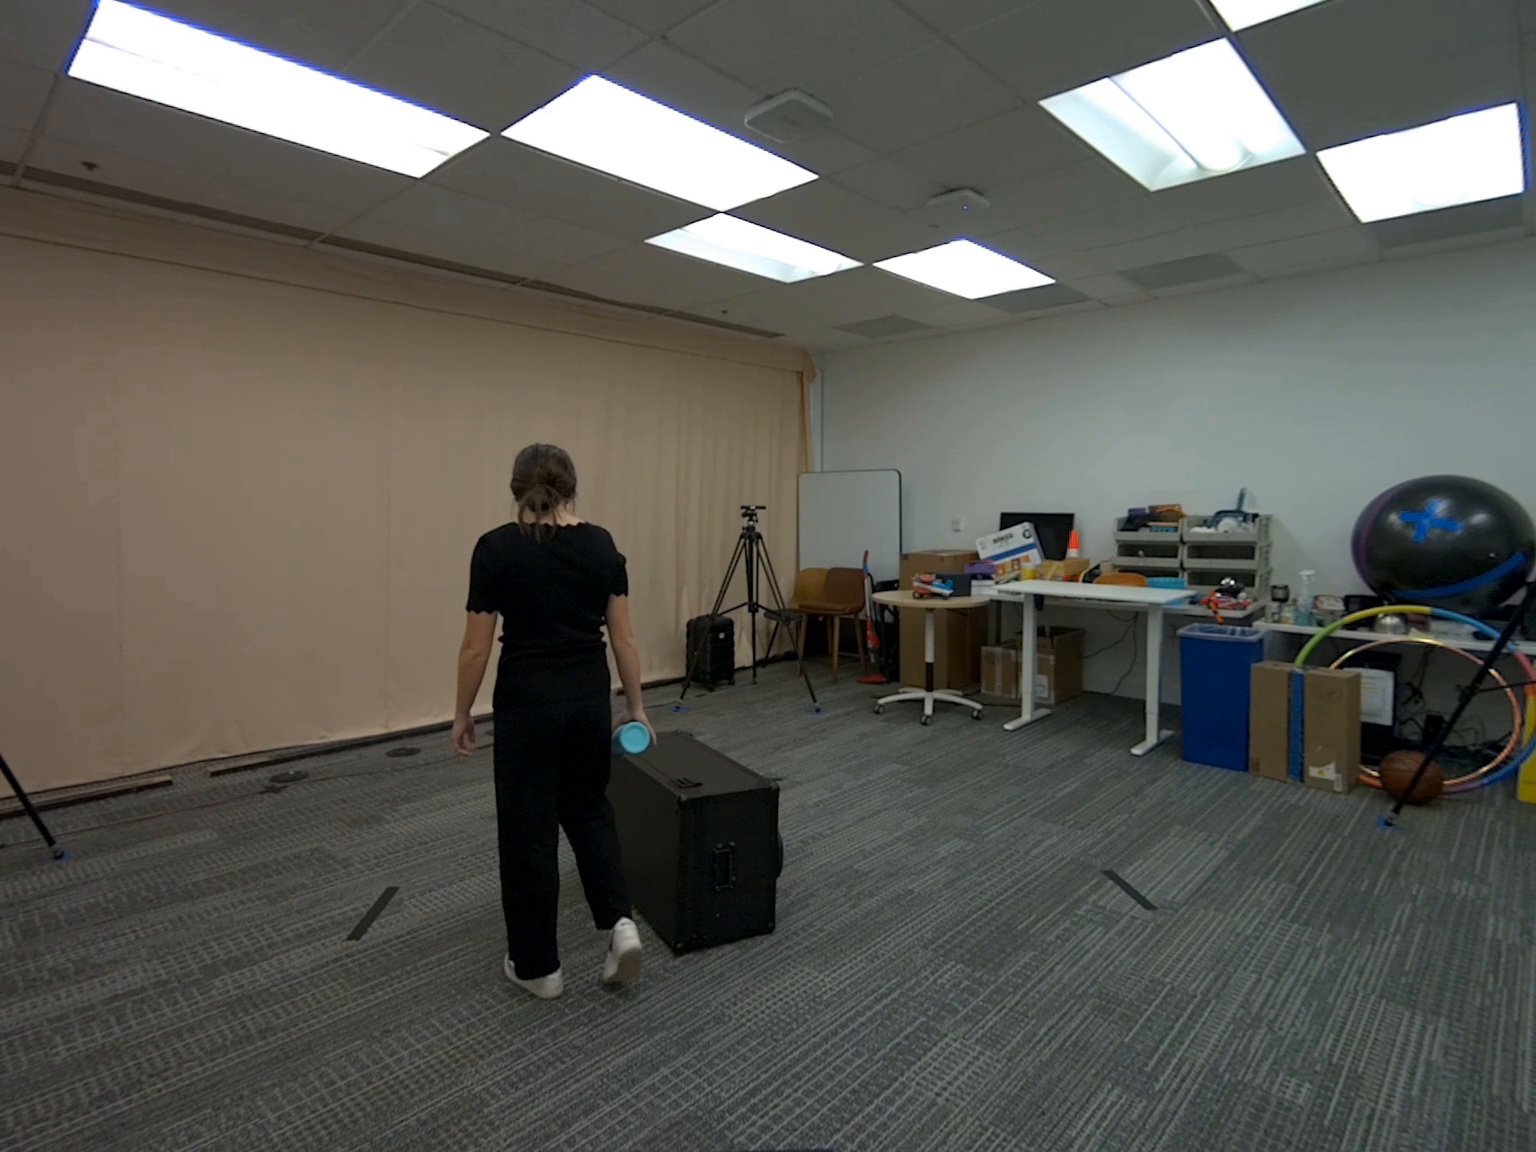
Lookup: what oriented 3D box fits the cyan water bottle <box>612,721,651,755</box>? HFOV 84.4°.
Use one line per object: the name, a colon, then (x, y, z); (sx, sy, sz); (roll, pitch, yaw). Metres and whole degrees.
cyan water bottle: (-0.438, 0.507, 2.577); (0.090, 0.093, 0.286); (-1, -13, -21)
